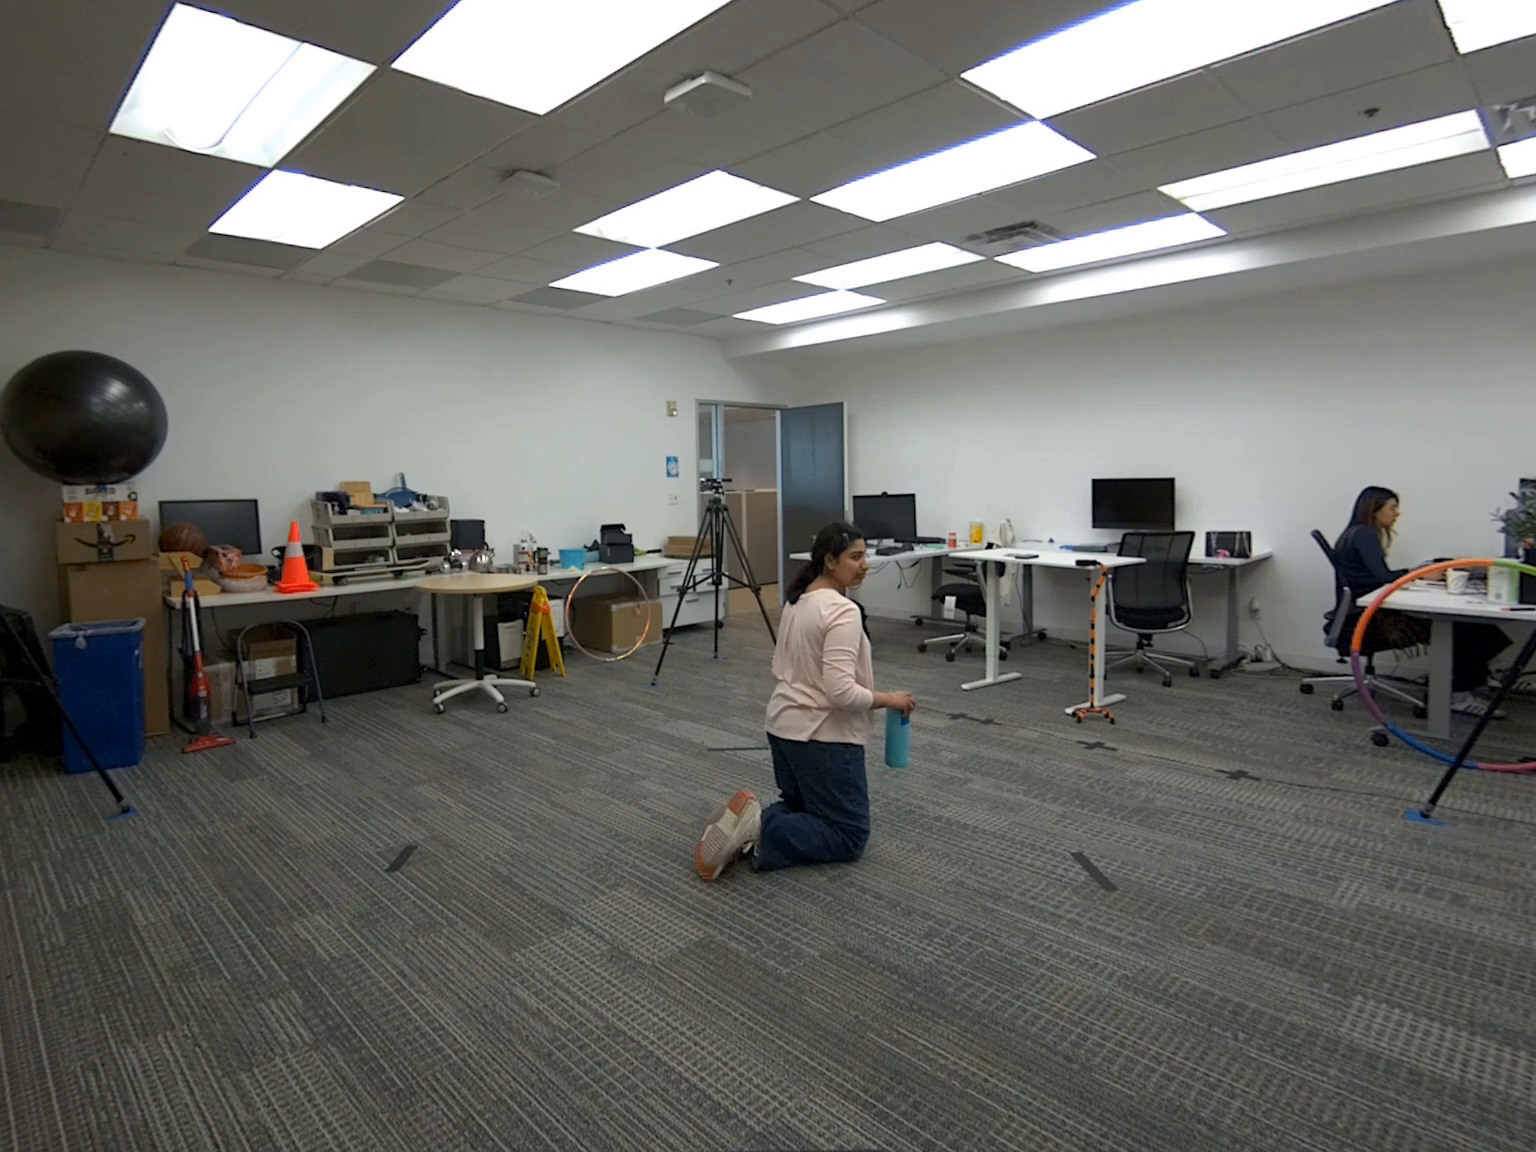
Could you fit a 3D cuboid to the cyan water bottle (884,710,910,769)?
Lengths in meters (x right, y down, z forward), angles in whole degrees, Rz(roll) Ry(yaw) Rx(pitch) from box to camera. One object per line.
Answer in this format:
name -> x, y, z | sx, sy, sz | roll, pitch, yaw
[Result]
cyan water bottle -> 0.481, 0.571, 3.211 | 0.092, 0.280, 0.093 | 1, 12, -2
